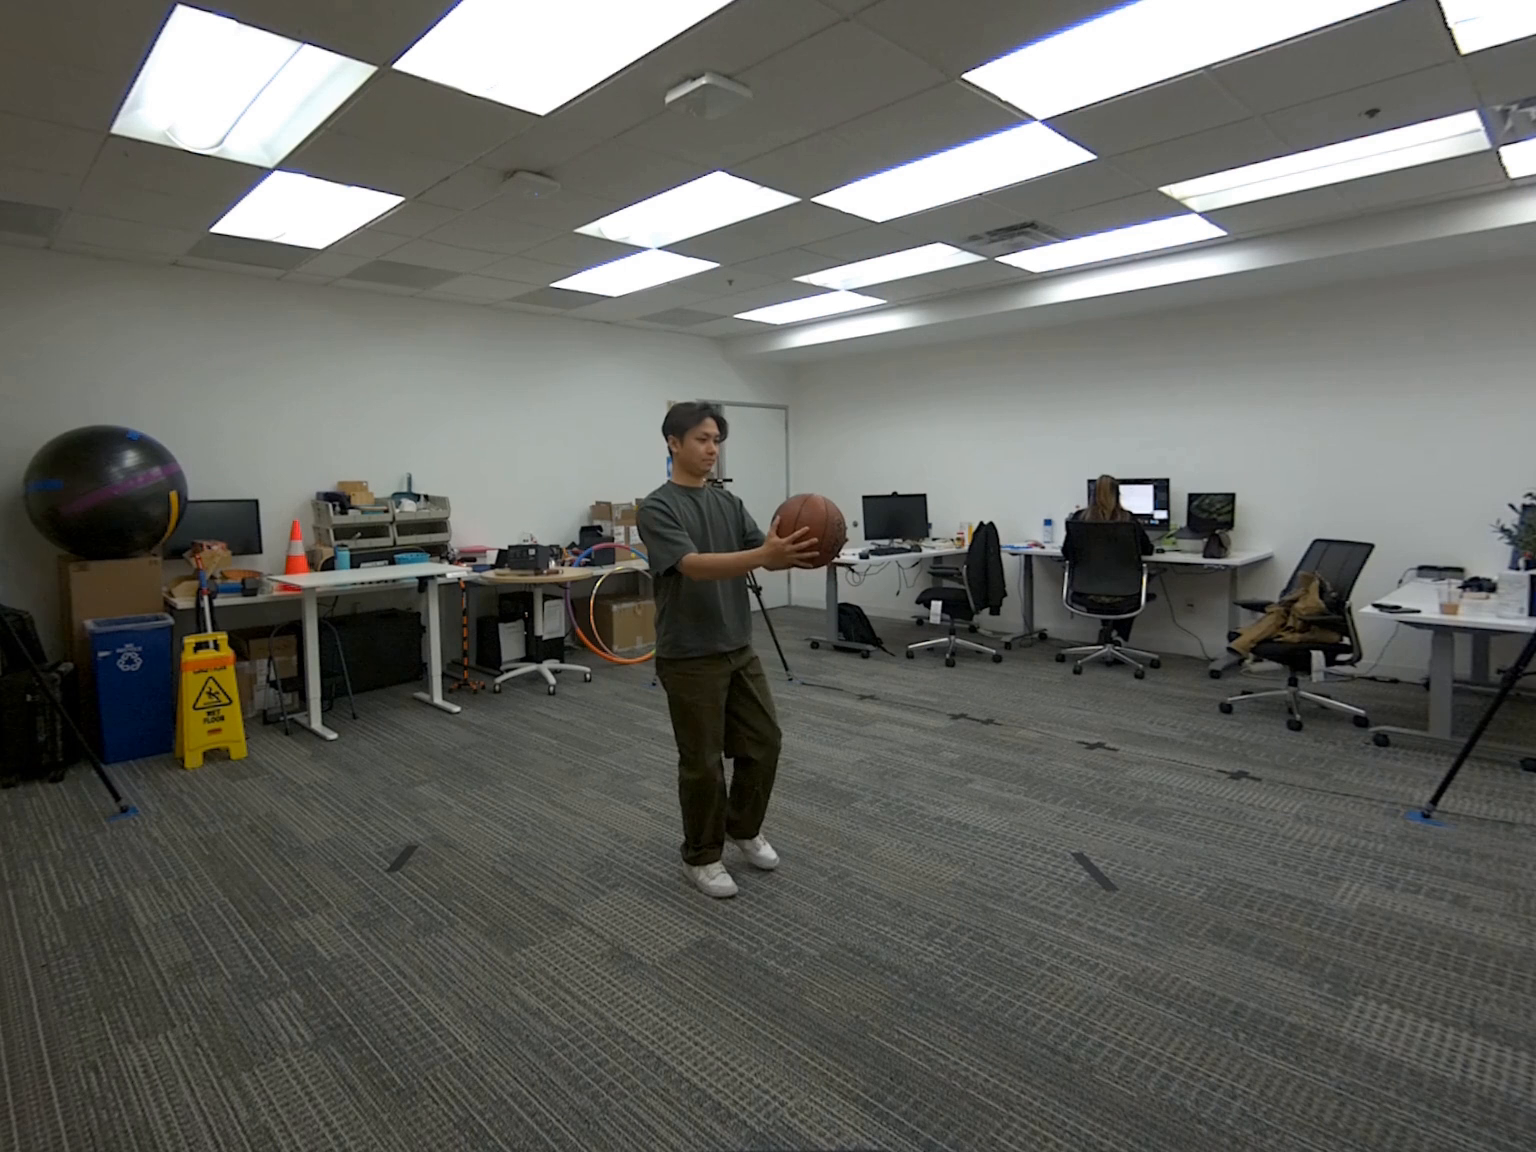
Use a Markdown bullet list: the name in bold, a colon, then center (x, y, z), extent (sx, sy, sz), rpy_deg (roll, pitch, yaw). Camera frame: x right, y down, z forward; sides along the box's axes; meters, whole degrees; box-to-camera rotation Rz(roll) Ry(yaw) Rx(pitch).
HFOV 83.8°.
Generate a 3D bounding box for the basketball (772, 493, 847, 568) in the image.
- **basketball**: center (0.130, -0.129, 2.686), extent (0.236, 0.235, 0.237), rpy_deg (-1, 5, -2)
